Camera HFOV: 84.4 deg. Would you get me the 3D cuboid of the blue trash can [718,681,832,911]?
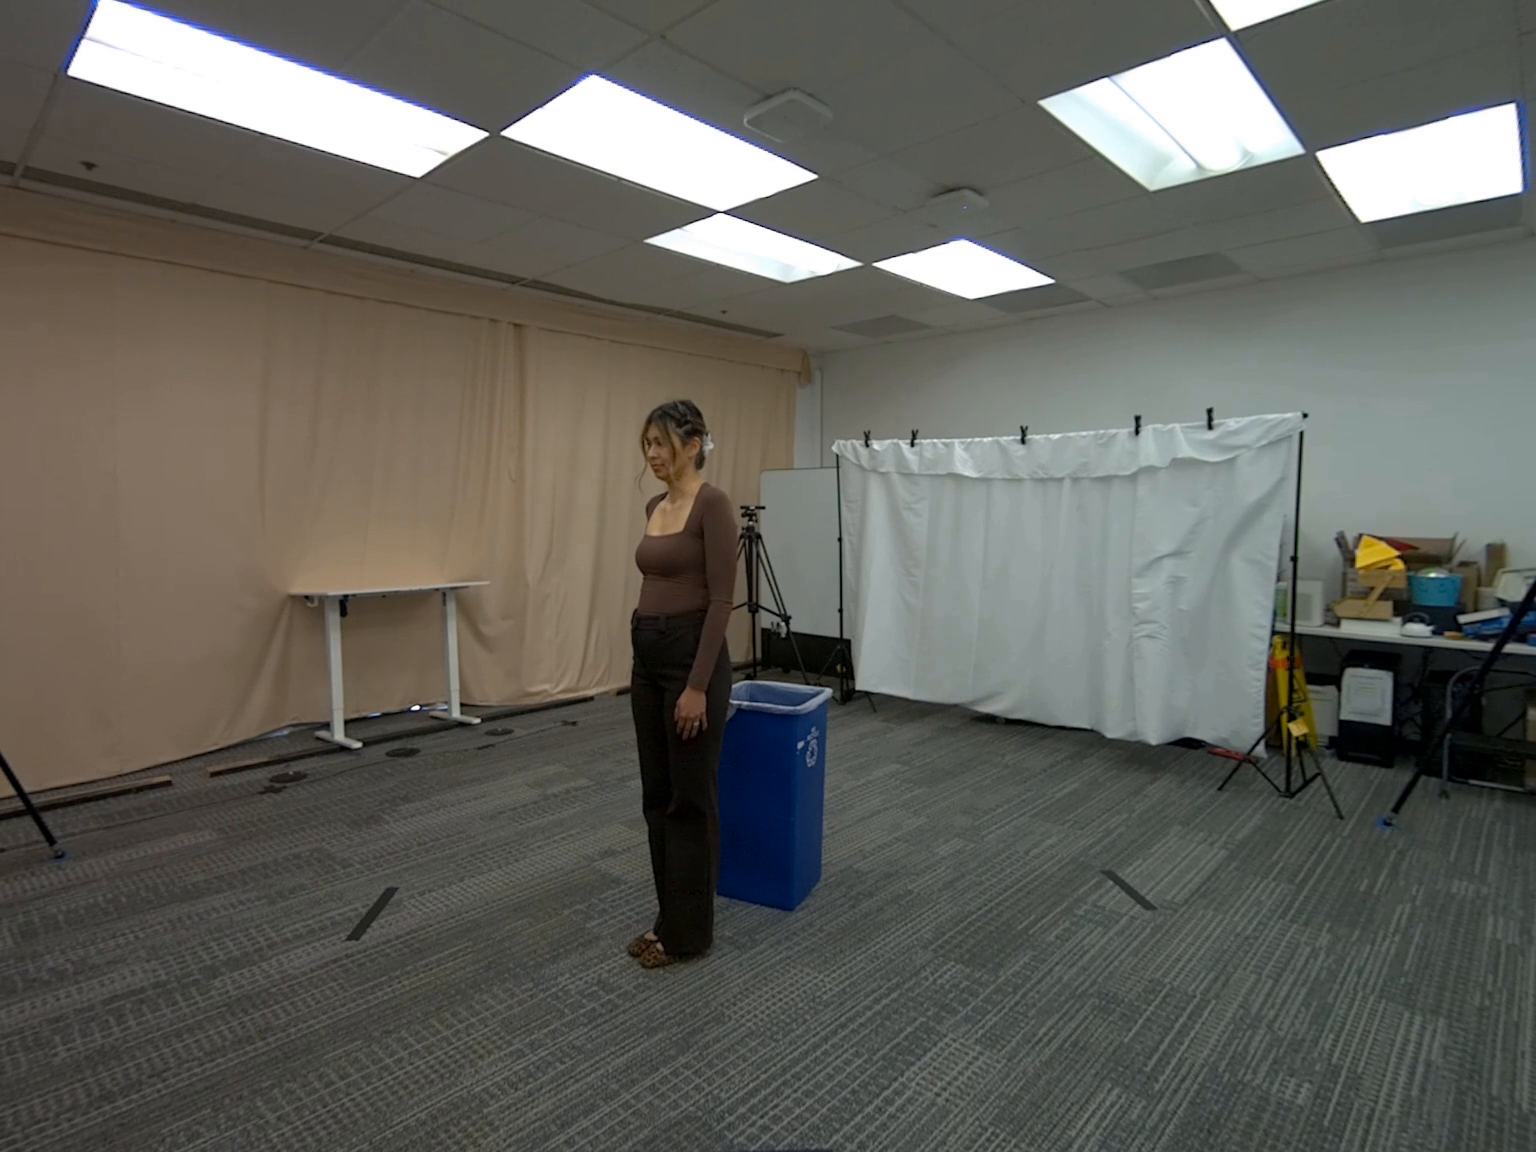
[{"bbox_3d":[0.006,0.778,3.062,0.383,0.712,0.369,3,4,24],"label":"blue trash can"}]
